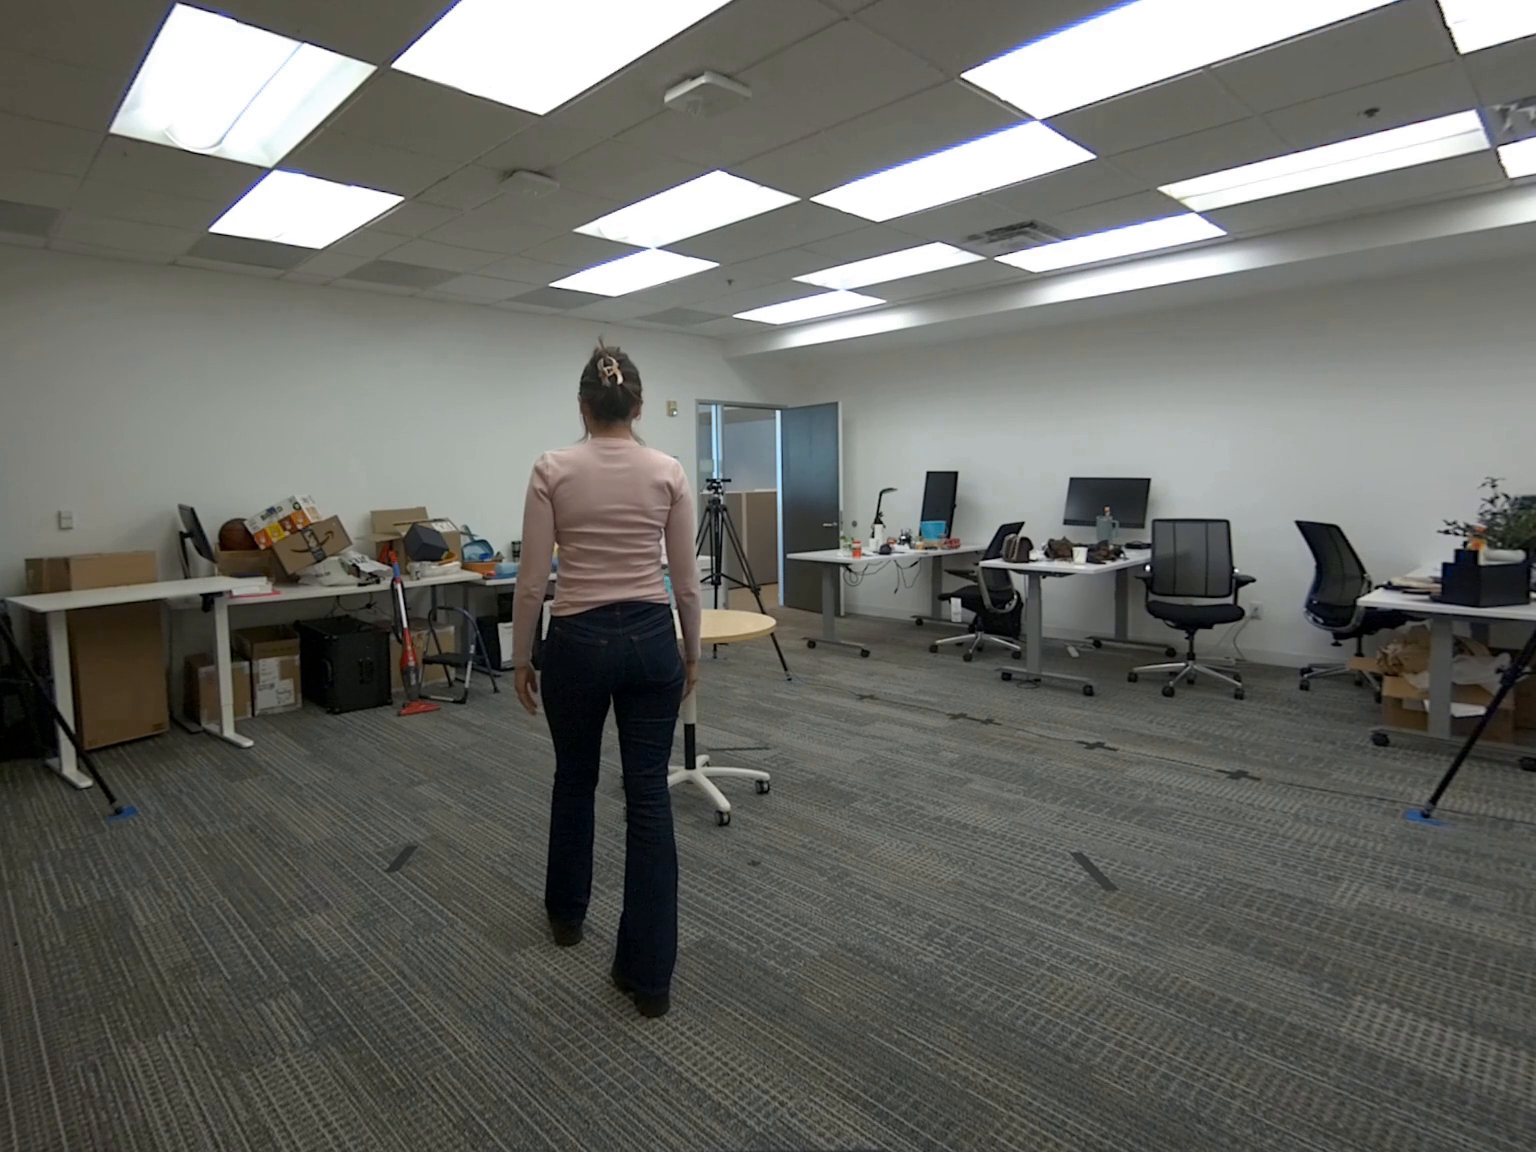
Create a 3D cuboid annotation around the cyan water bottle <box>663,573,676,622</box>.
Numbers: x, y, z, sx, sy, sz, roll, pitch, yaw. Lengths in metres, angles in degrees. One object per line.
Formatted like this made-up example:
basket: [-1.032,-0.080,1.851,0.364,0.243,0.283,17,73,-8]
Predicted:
cyan water bottle: [-0.440,0.084,3.482,0.092,0.283,0.092,-2,3,-2]
